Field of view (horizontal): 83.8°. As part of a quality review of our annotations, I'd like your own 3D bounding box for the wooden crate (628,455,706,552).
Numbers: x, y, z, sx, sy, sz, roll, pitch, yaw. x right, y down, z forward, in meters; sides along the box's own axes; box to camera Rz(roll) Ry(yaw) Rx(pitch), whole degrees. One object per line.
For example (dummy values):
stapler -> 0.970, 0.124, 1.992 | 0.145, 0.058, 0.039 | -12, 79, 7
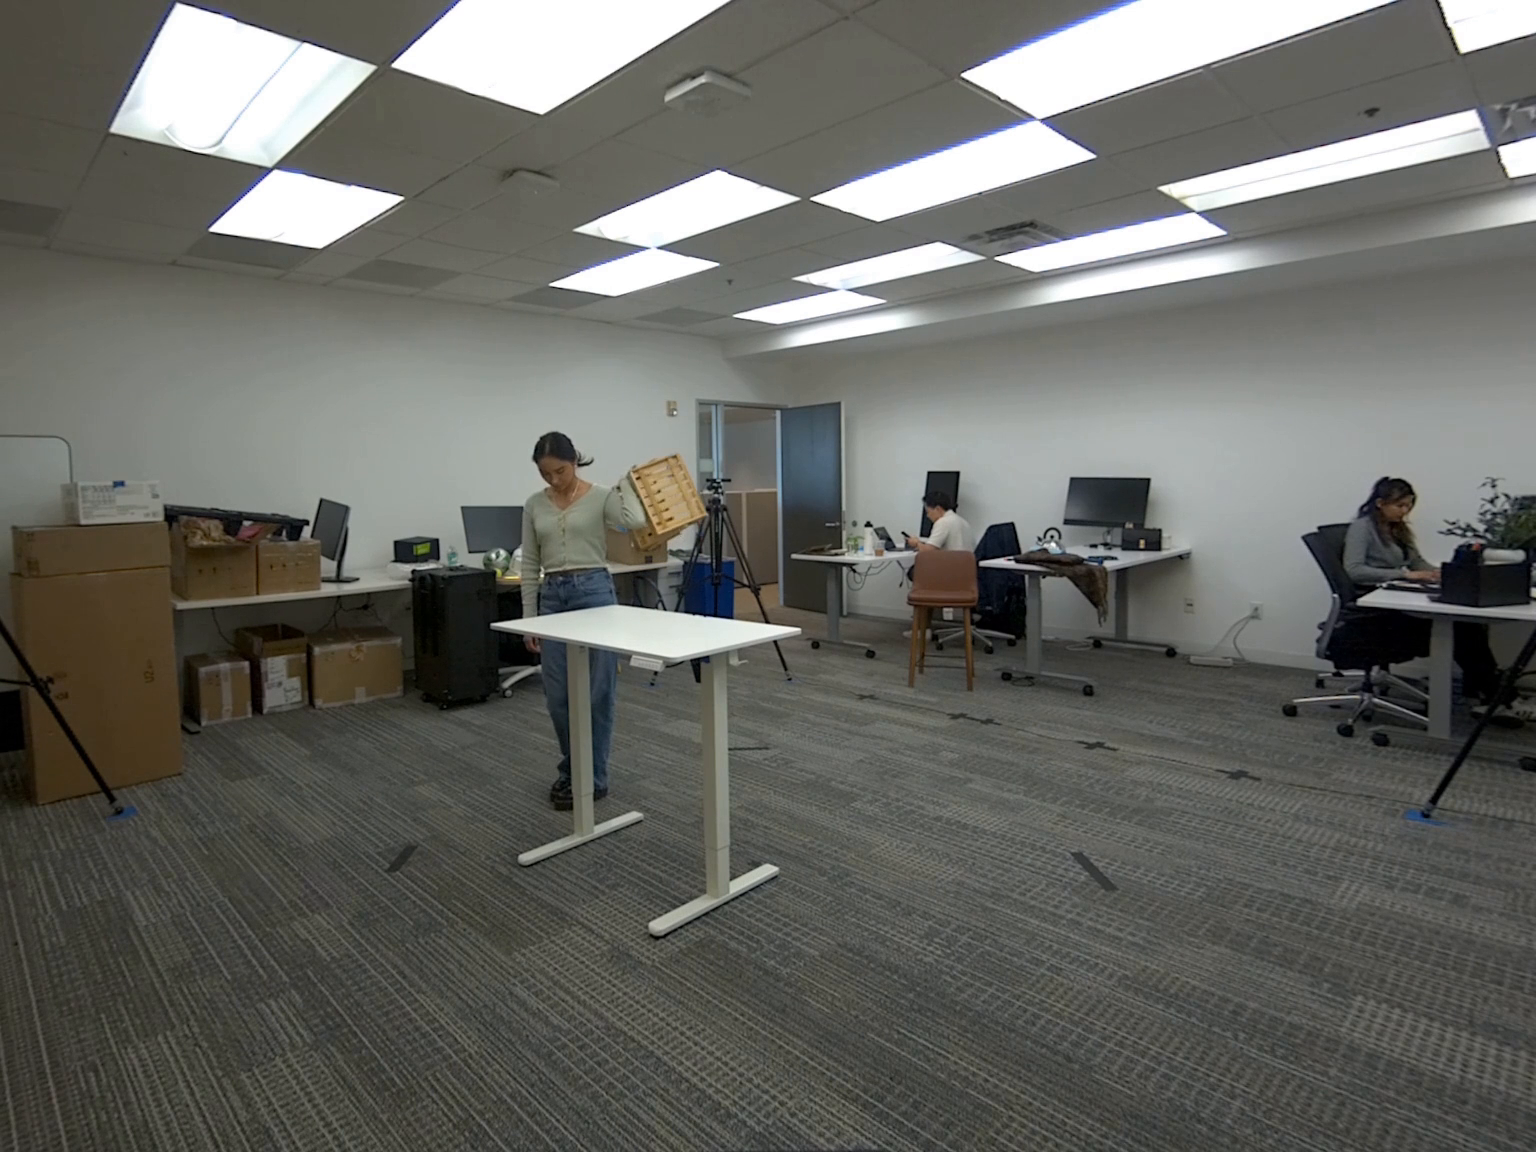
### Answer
wooden crate -> -0.474, -0.322, 3.750 | 0.299, 0.327, 0.274 | -23, -6, -18
